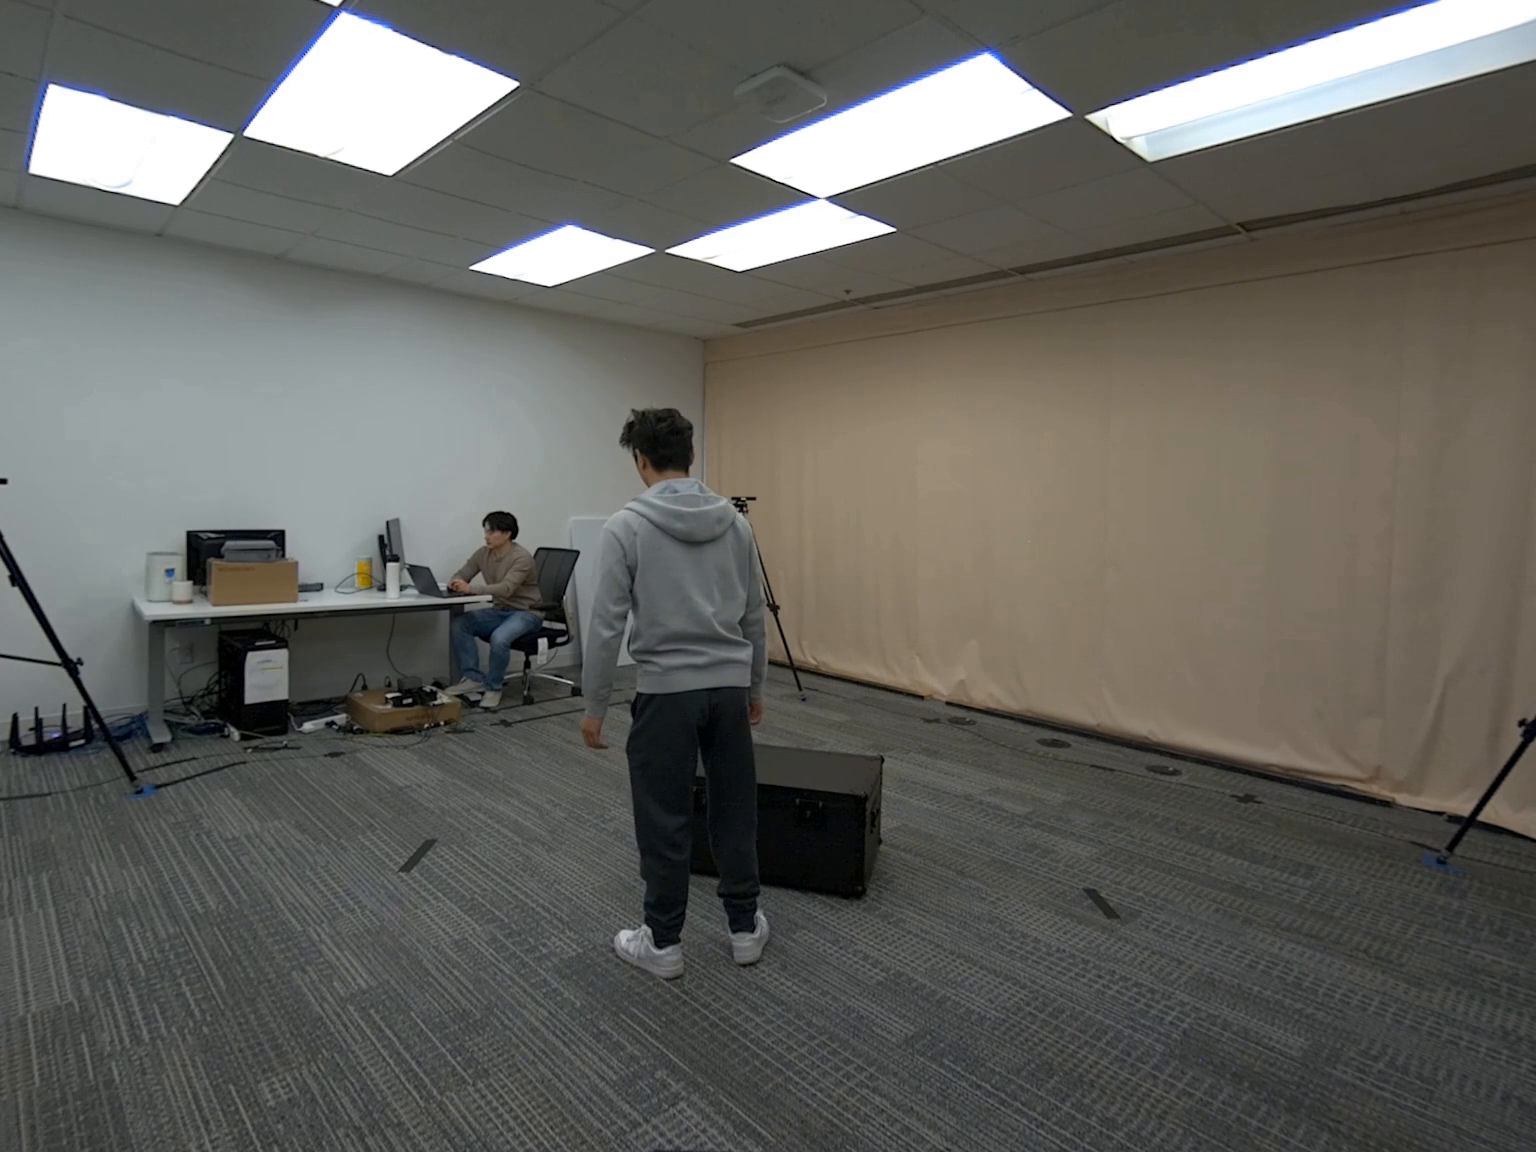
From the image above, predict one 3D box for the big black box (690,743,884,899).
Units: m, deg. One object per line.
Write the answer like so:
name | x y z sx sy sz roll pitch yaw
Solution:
big black box | -0.014 0.902 3.254 0.873 0.395 0.515 3 5 16
